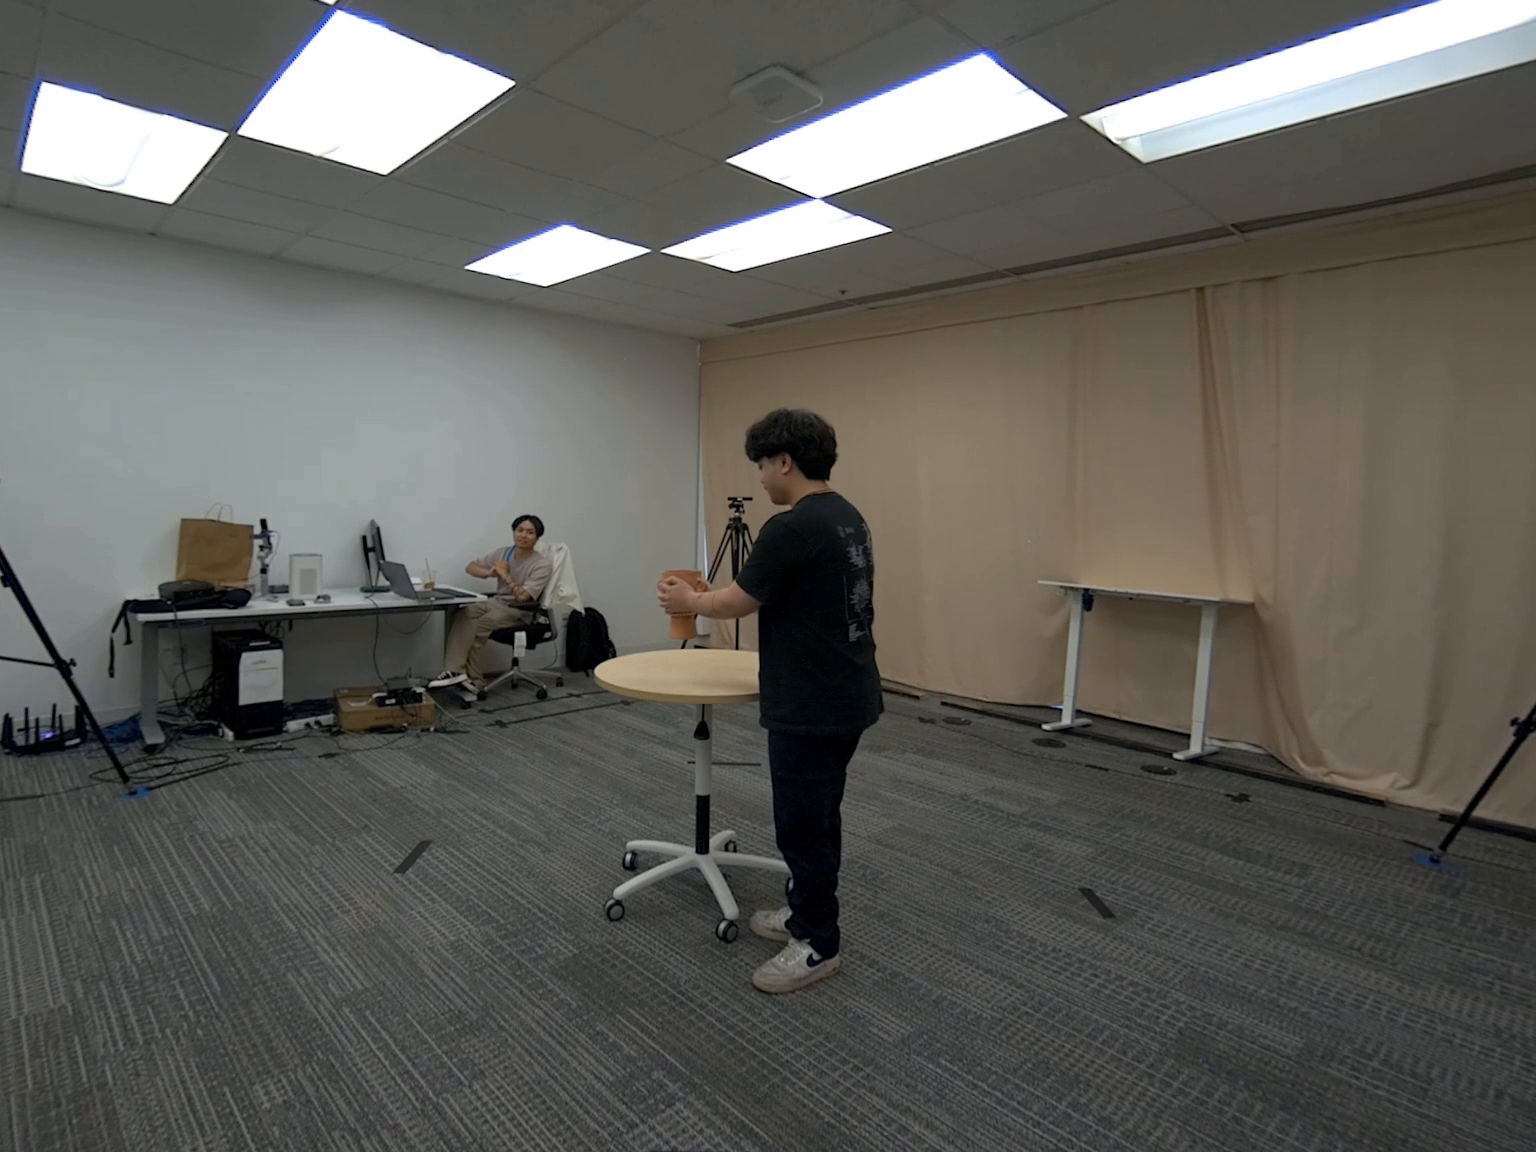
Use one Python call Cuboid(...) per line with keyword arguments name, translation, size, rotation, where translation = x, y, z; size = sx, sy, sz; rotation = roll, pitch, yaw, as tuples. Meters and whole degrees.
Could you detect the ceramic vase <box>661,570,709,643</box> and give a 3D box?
Cuboid(name="ceramic vase", translation=(-0.283, 0.096, 2.763), size=(0.132, 0.220, 0.161), rotation=(-2, 0, -21))
